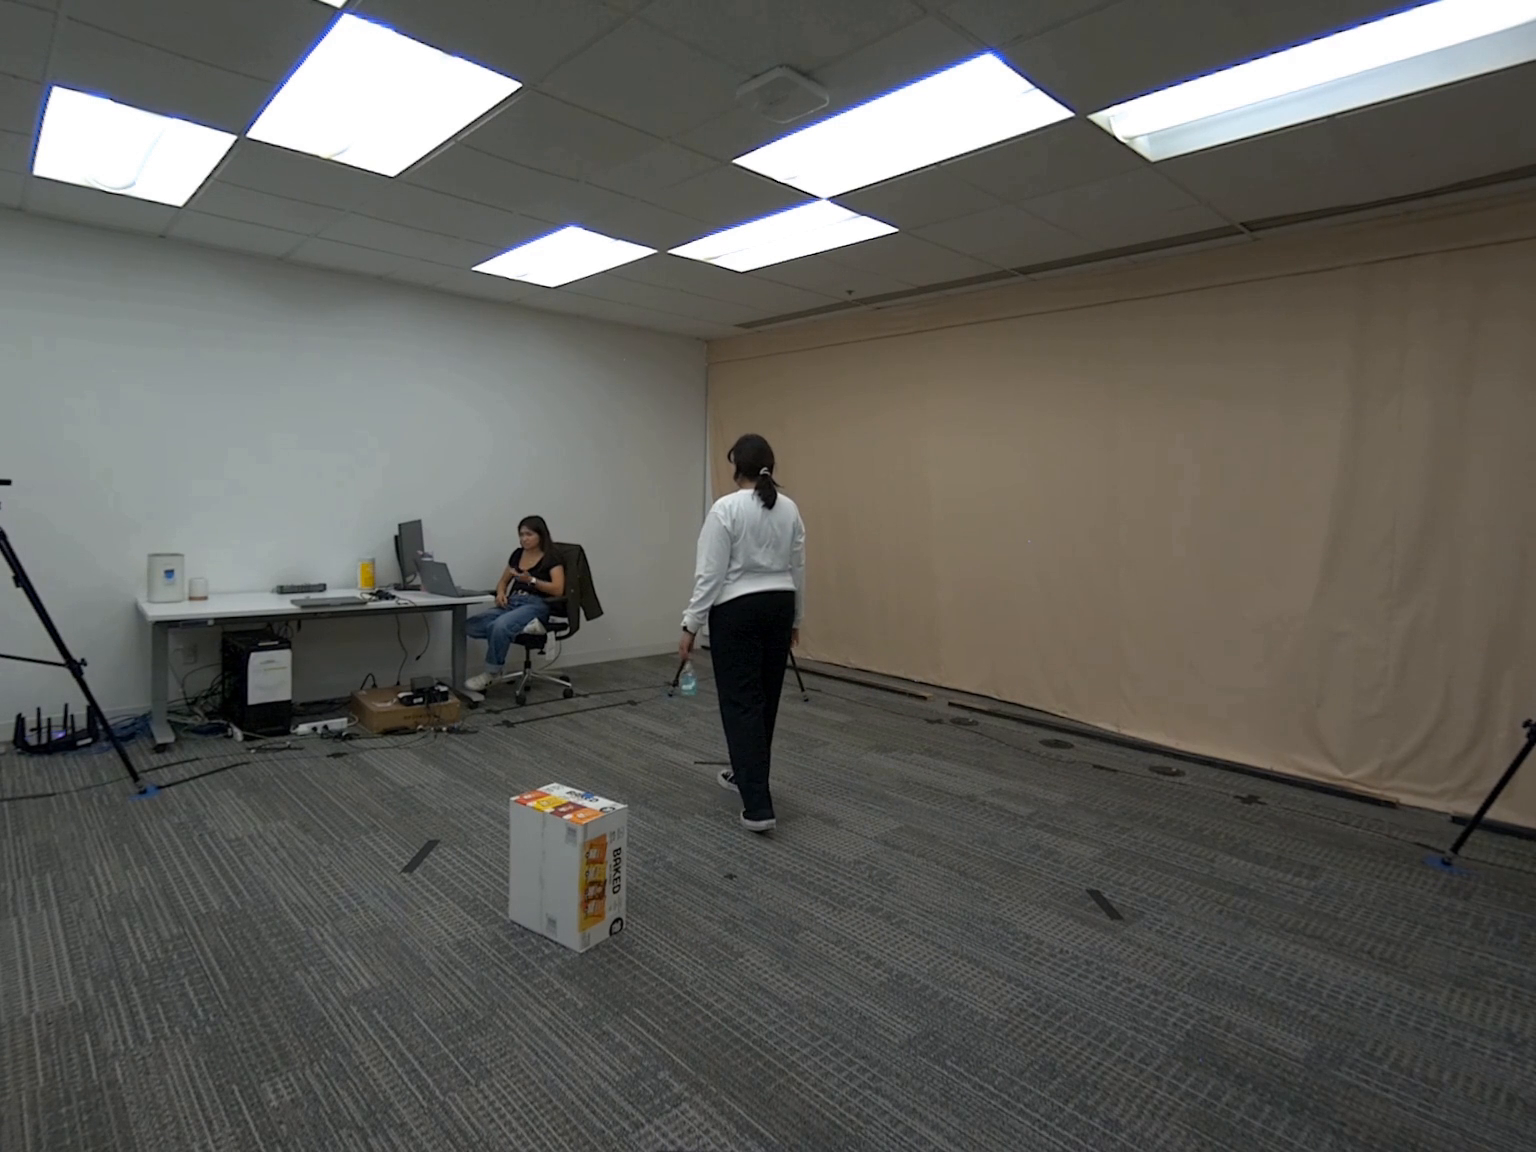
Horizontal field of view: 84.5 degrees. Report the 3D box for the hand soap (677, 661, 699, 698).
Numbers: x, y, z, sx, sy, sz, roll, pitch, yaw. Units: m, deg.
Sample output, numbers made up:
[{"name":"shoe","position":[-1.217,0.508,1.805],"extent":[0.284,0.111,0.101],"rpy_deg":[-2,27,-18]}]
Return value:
[{"name":"hand soap","position":[-0.355,0.440,3.710],"extent":[0.085,0.169,0.043],"rpy_deg":[0,-8,8]}]
